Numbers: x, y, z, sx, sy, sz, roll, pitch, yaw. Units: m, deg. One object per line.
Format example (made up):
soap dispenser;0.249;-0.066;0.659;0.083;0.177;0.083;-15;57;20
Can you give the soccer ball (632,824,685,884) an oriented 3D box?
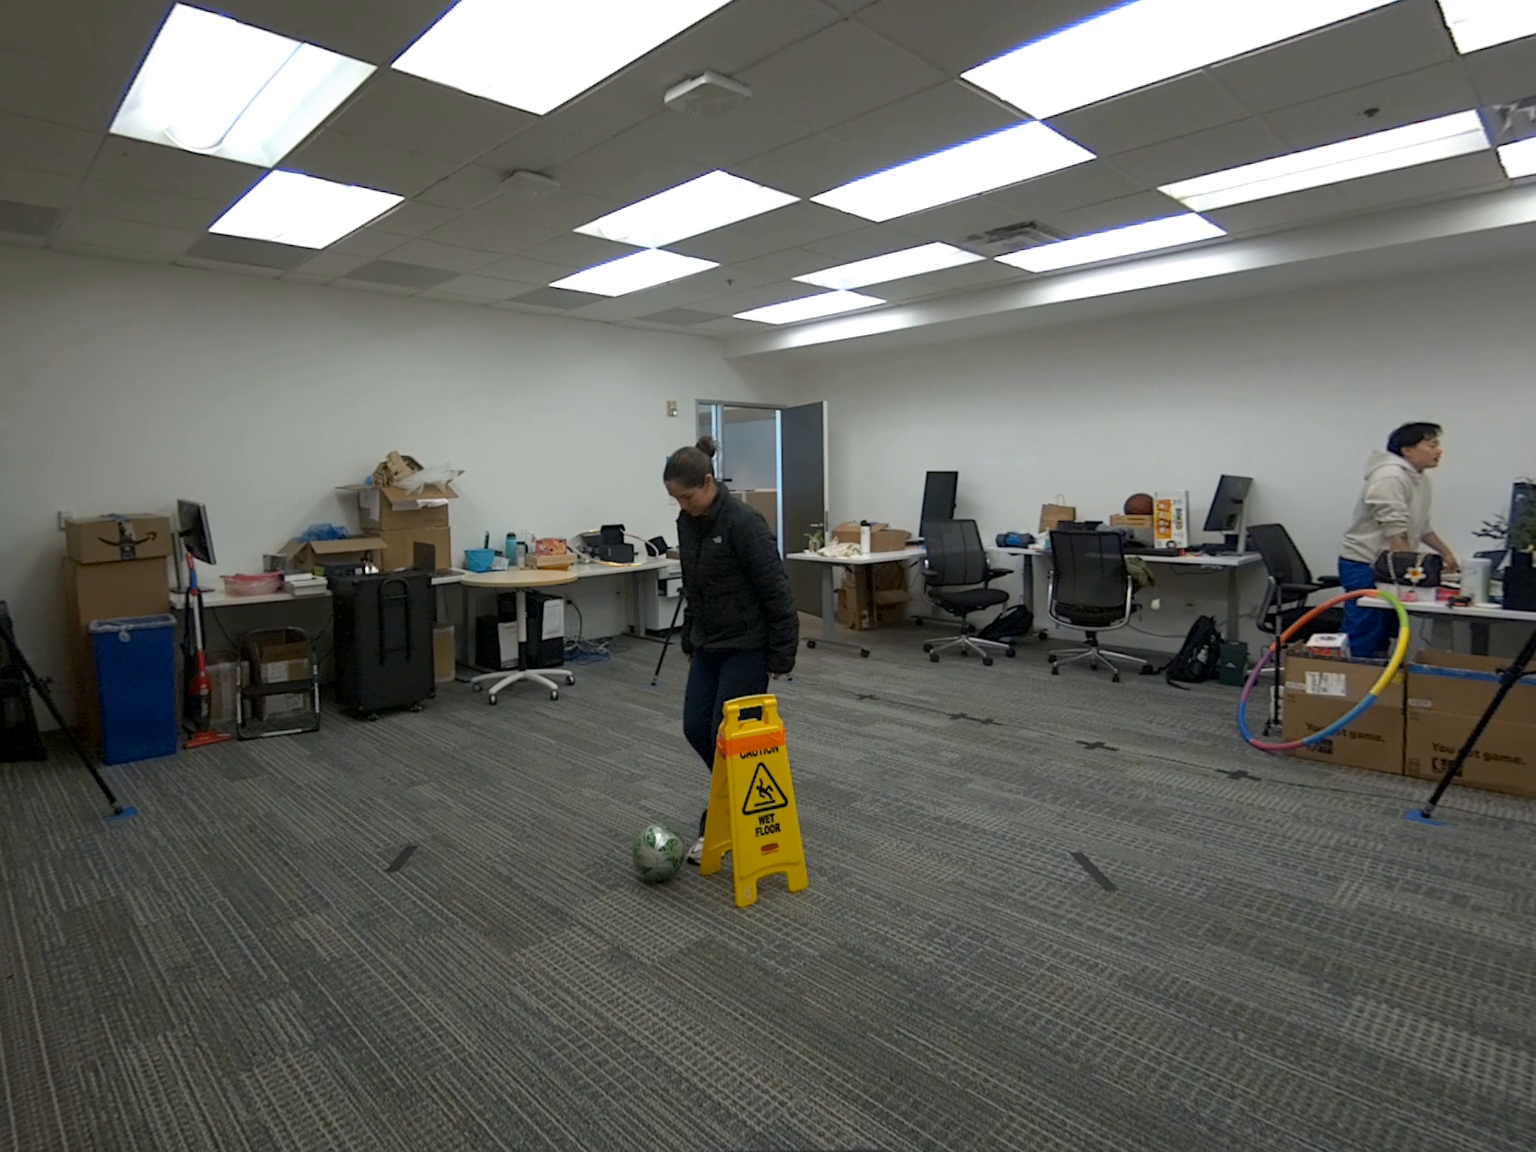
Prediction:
soccer ball;-0.379;0.966;2.992;0.187;0.187;0.188;-1;5;-2
